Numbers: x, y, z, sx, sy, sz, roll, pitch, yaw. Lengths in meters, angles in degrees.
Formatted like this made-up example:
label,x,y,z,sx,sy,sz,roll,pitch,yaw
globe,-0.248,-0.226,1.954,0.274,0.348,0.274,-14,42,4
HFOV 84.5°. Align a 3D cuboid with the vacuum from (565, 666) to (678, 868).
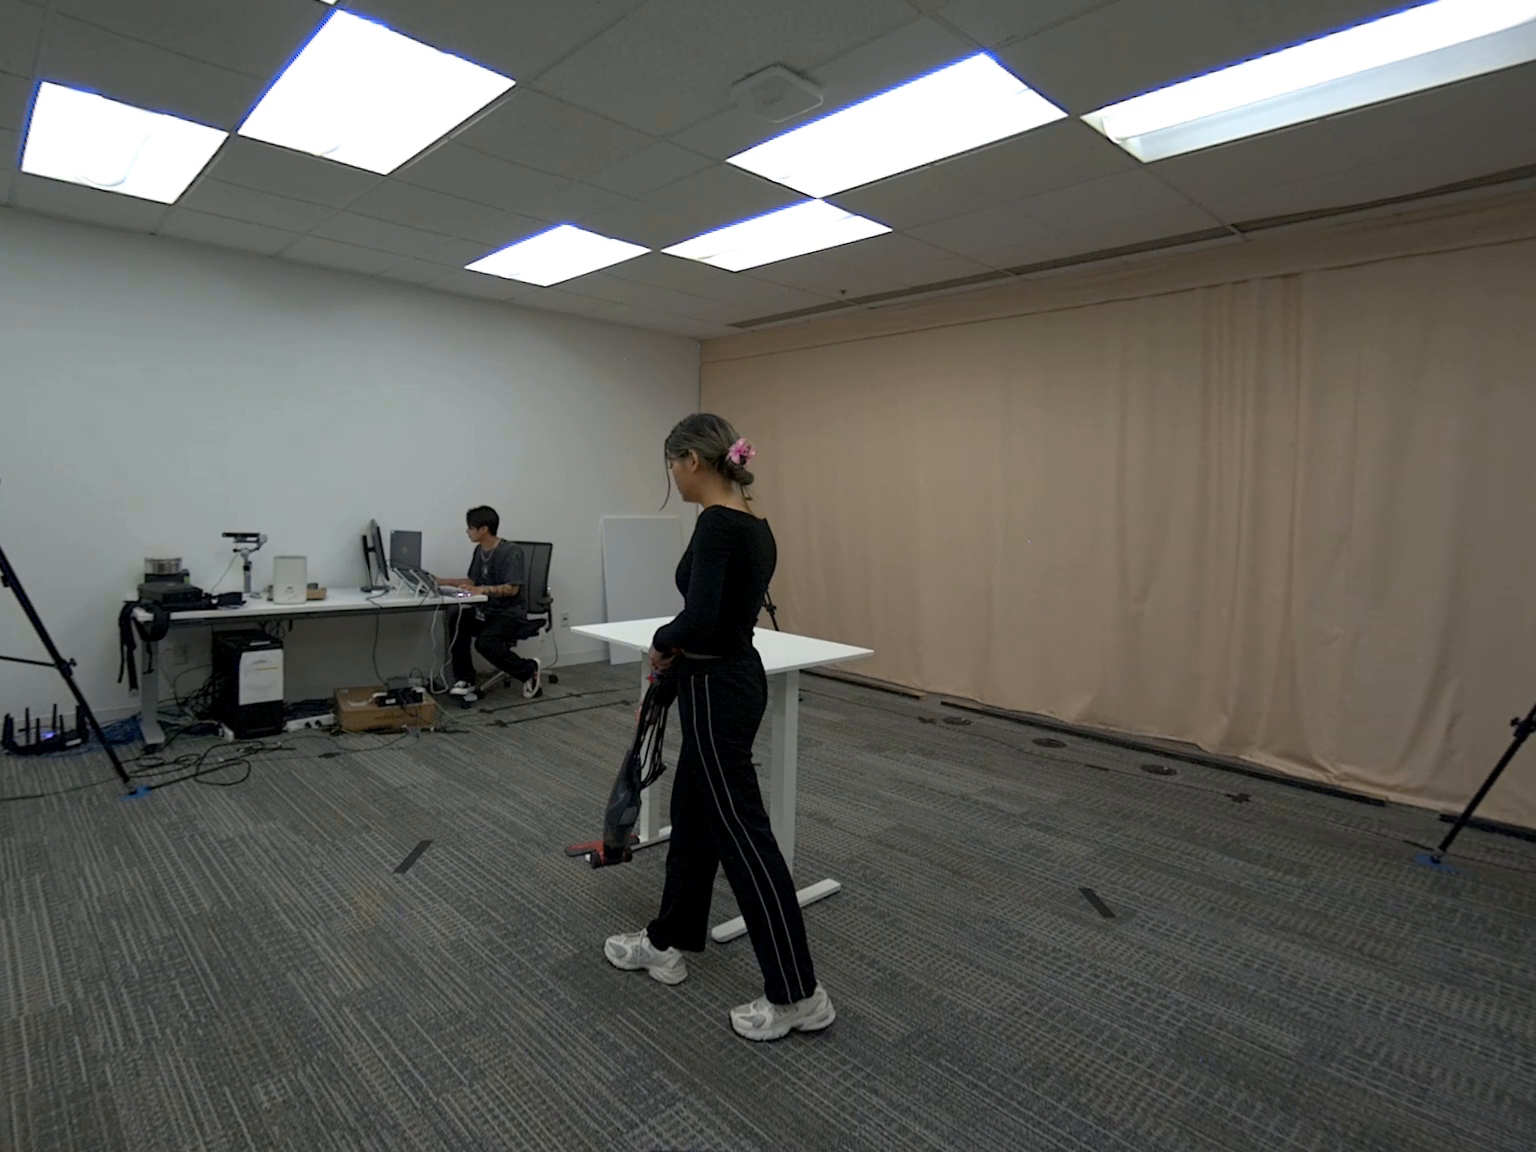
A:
label,x,y,z,sx,sy,sz,roll,pitch,yaw
vacuum,-0.412,0.572,2.520,0.248,1.036,0.148,-11,47,-35
